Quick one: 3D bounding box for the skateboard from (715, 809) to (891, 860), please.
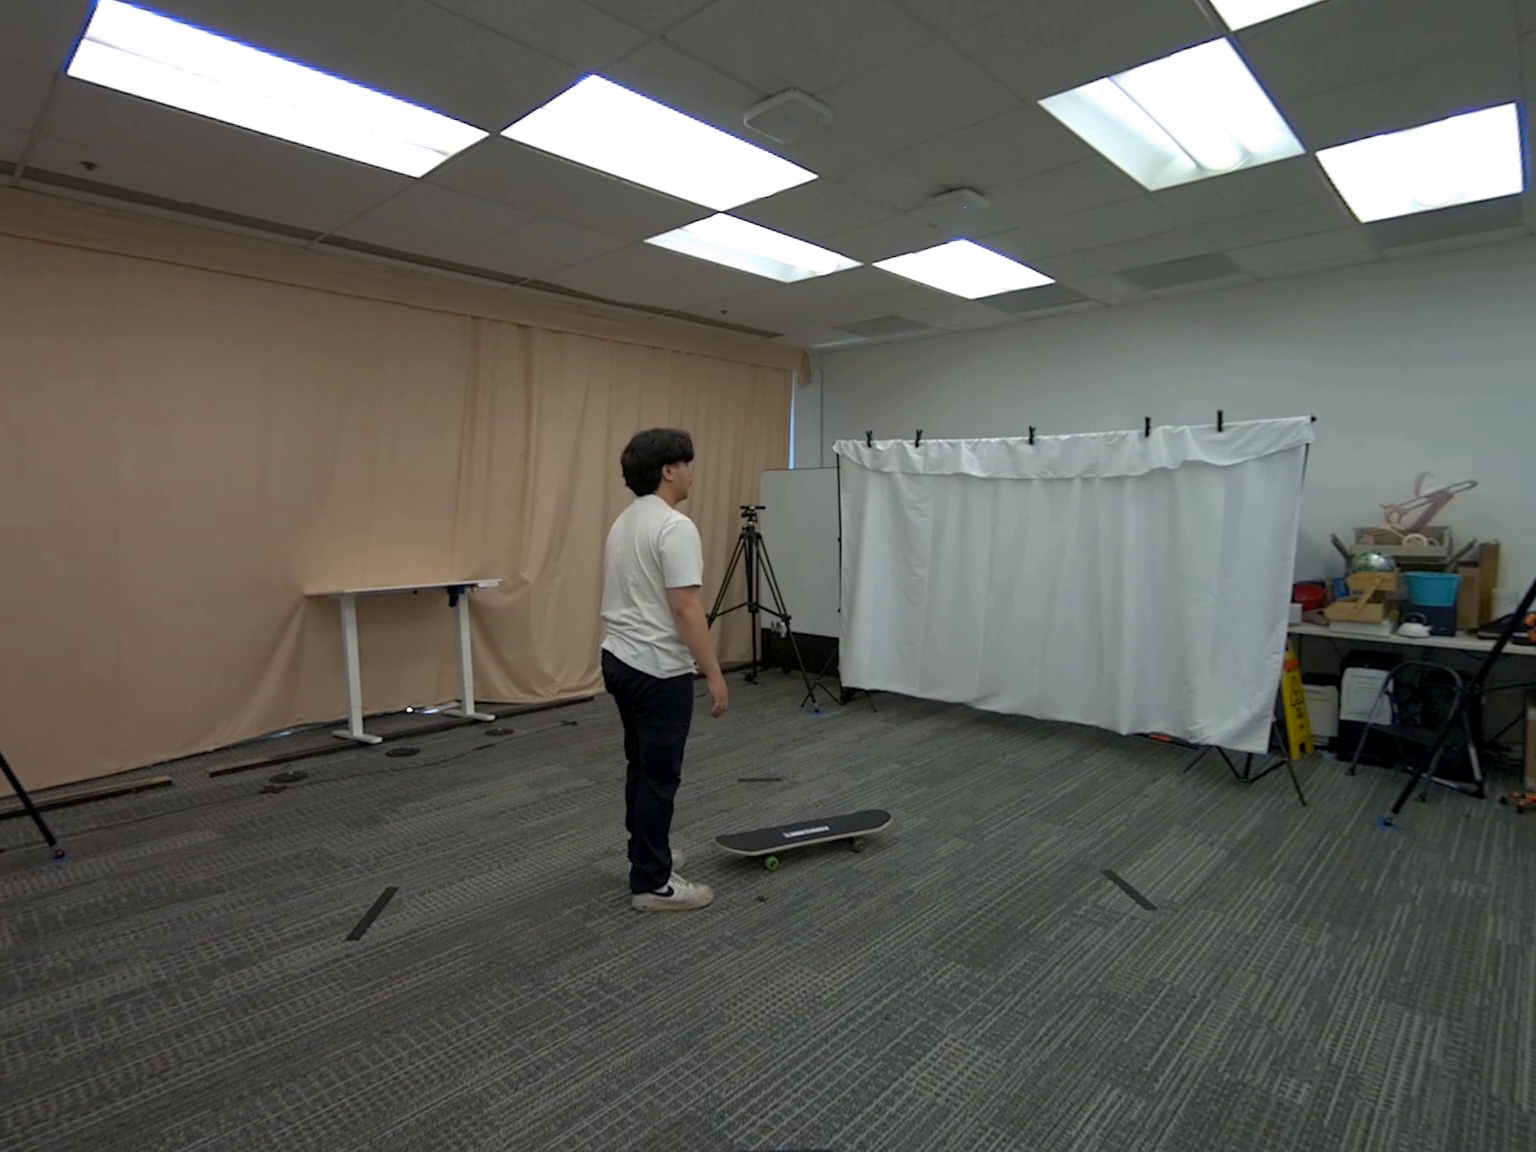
[{"bbox_3d":[0.151,1.056,3.369,0.767,0.110,0.198,-2,5,-25],"label":"skateboard"}]
